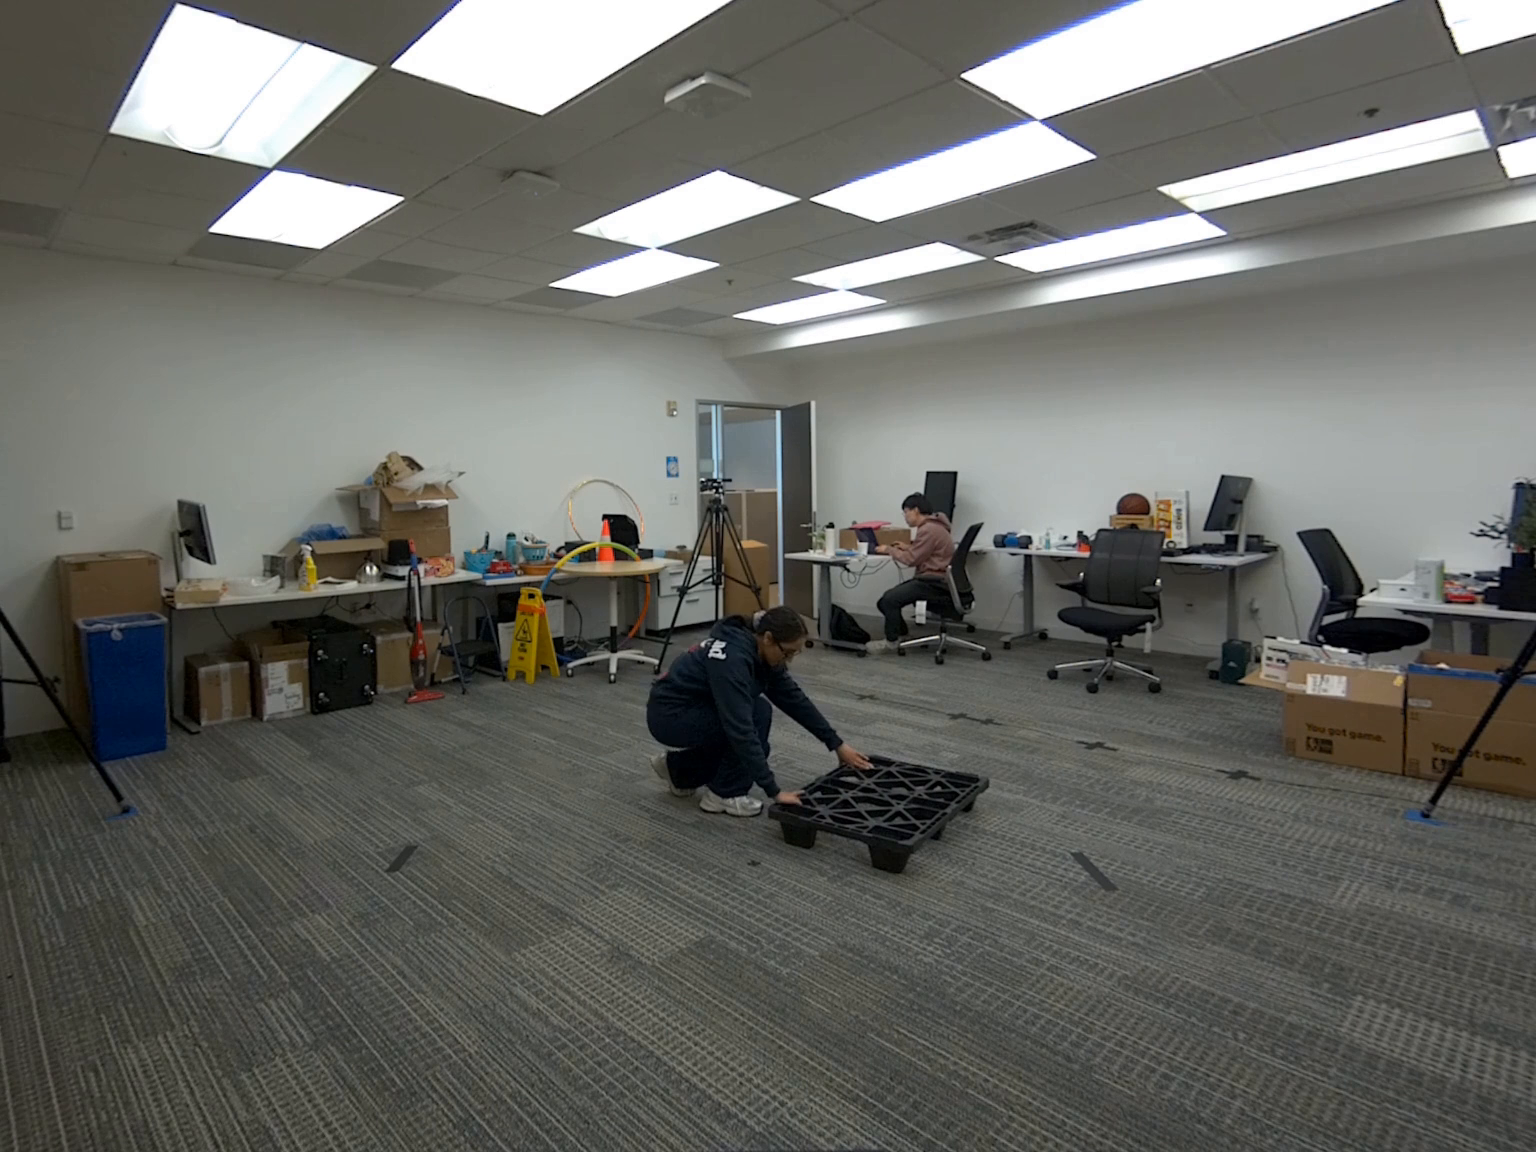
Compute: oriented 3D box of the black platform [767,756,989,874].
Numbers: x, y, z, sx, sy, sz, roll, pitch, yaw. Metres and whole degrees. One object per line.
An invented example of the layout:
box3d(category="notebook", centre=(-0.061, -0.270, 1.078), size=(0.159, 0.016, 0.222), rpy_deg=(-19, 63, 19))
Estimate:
box3d(category="black platform", centre=(0.457, 0.932, 3.419), size=(0.622, 0.143, 0.786), rpy_deg=(3, 7, 35))
